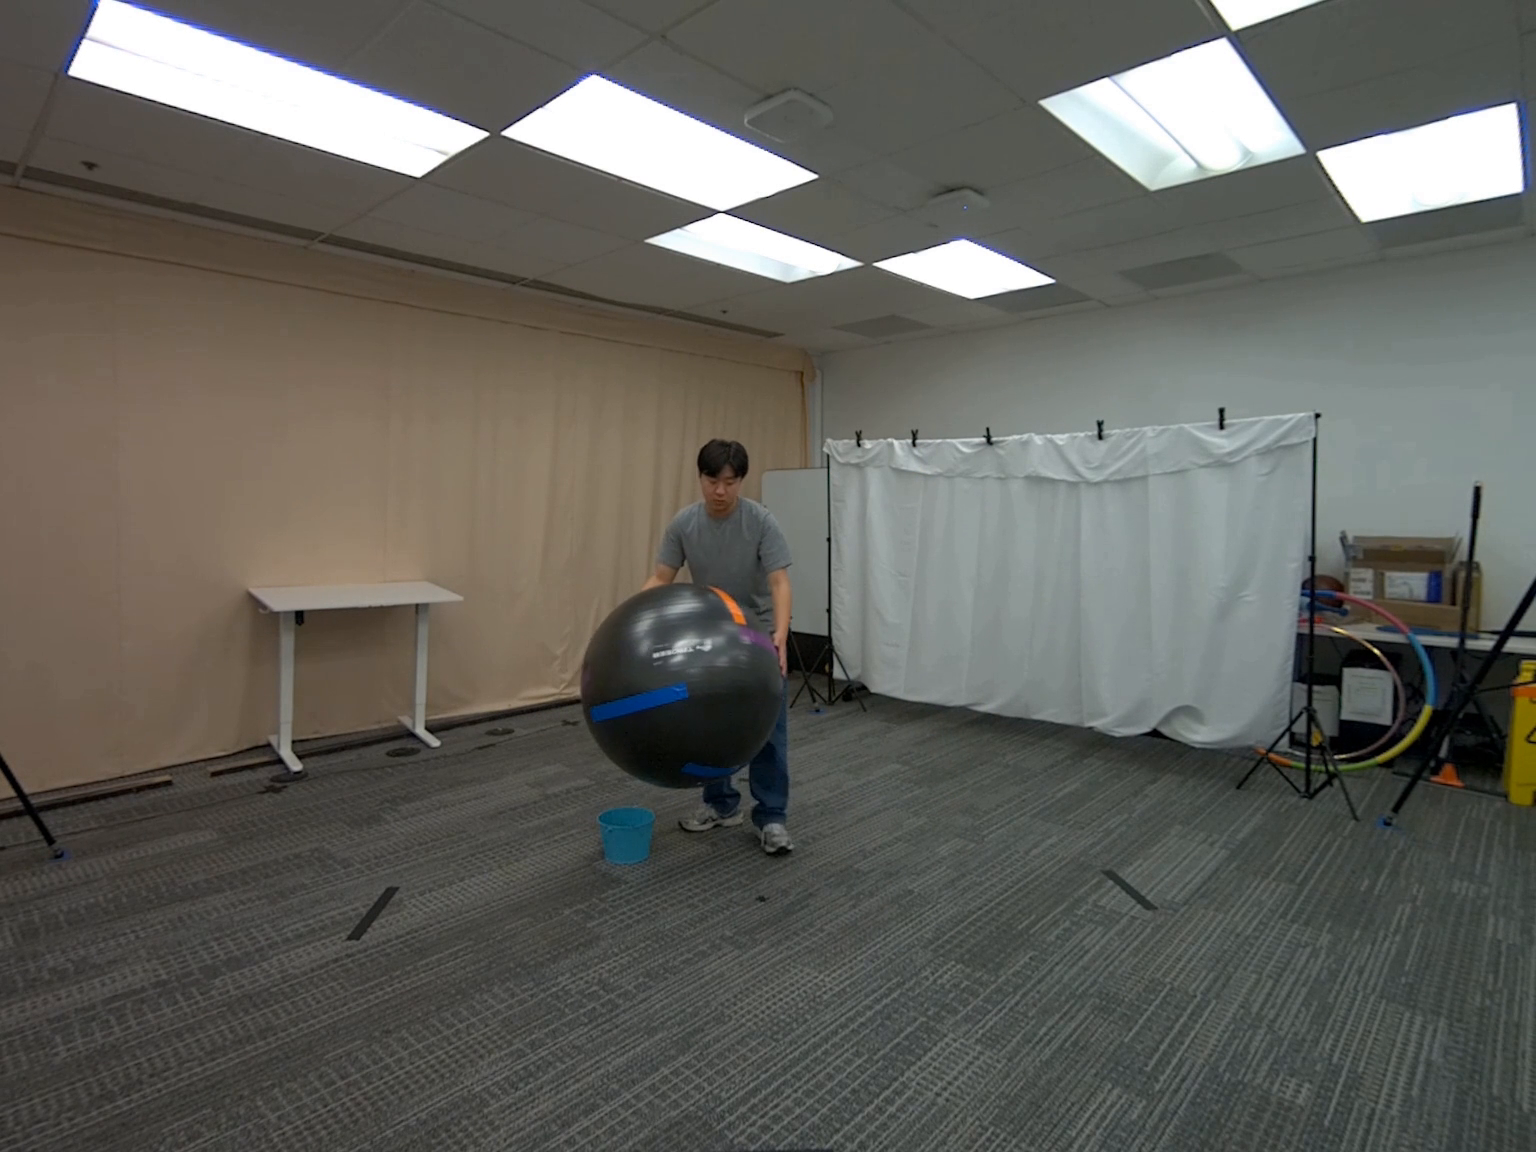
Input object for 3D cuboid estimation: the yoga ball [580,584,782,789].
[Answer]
[{"bbox_3d":[-0.333,0.408,3.164,0.757,0.756,0.761,0,4,-2],"label":"yoga ball"}]
